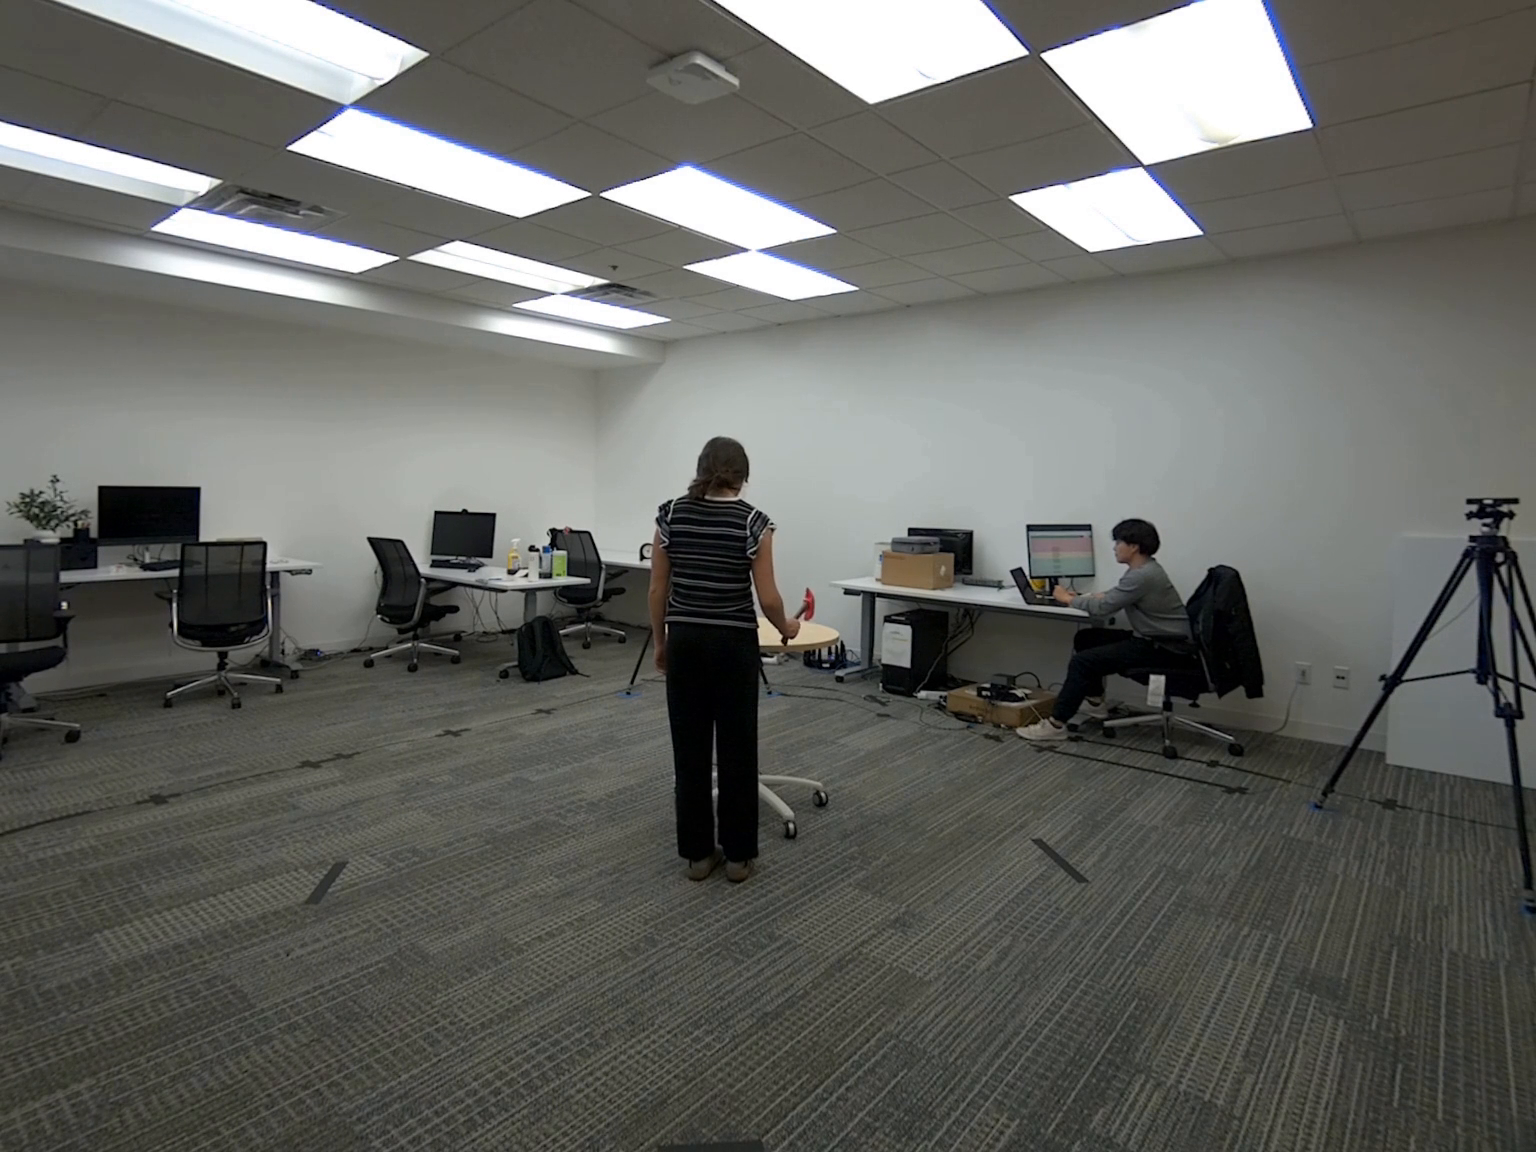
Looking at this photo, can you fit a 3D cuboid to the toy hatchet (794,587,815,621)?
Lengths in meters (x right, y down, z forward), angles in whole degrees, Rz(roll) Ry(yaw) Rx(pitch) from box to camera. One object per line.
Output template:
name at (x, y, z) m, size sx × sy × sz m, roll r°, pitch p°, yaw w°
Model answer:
toy hatchet at (0.112, 0.186, 3.268) m, size 0.030 × 0.272 × 0.126 m, roll 9°, pitch -38°, yaw 29°
